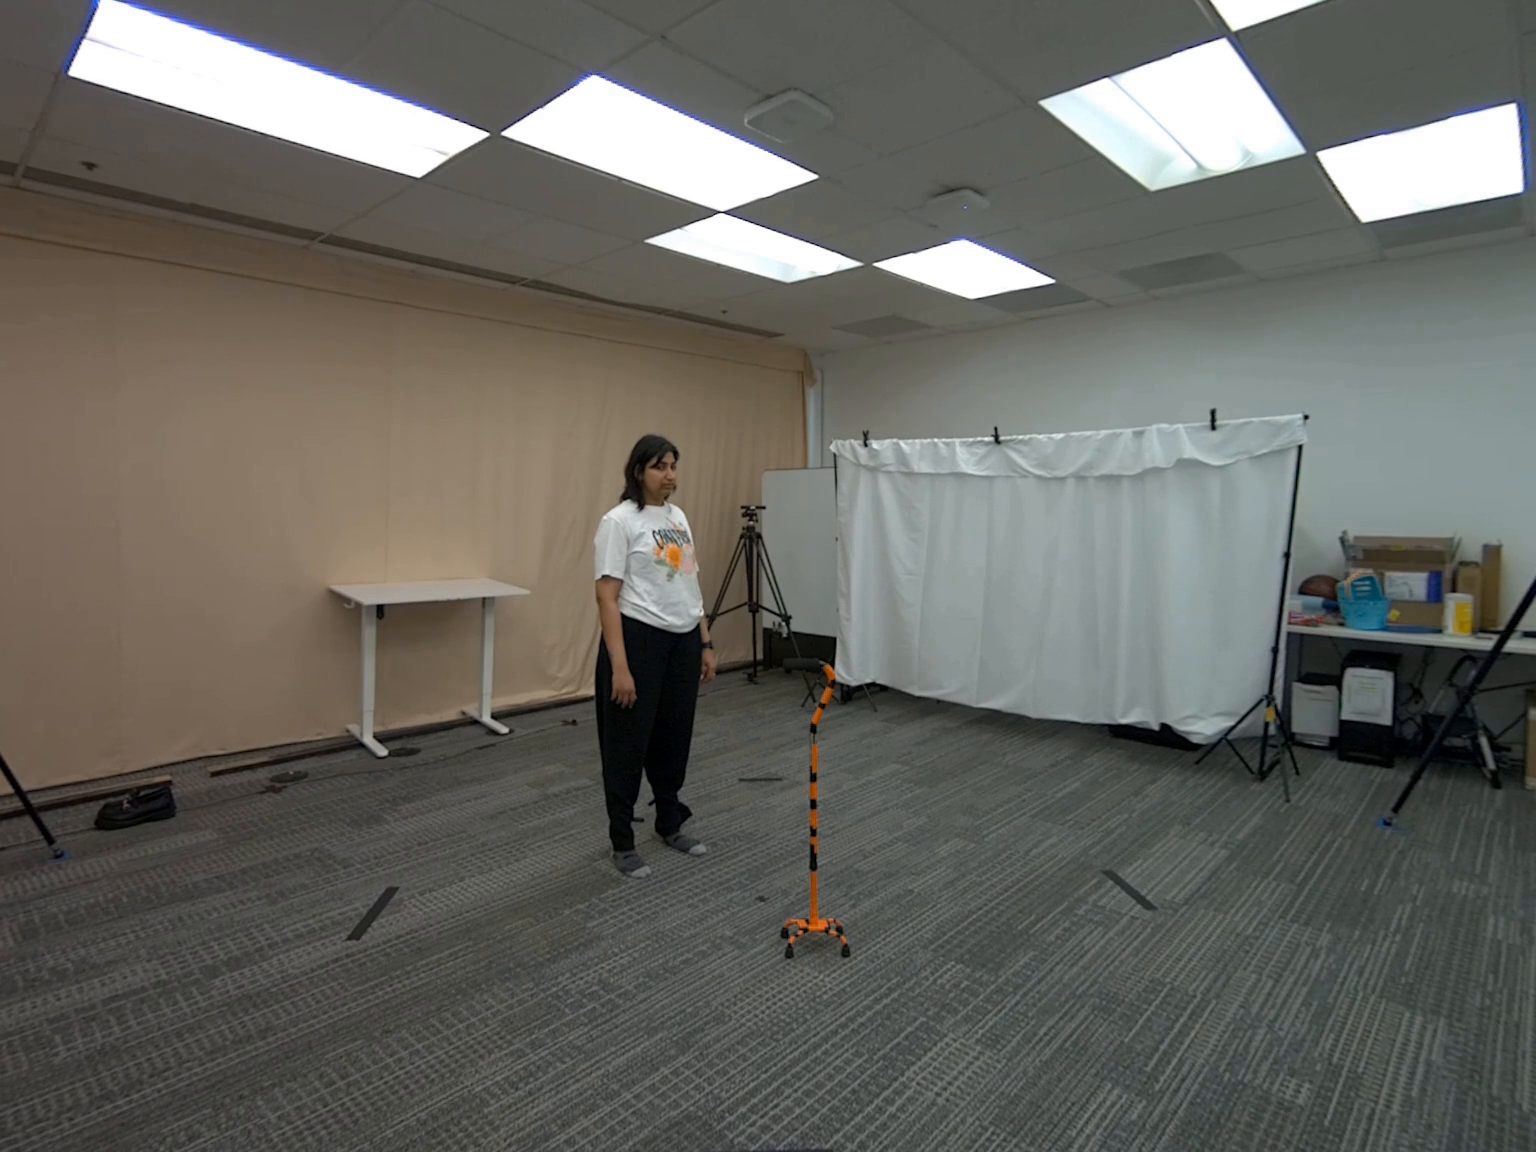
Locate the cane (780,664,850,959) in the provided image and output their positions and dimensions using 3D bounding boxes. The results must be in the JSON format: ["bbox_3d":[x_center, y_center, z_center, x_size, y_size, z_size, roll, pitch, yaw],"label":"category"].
[{"bbox_3d":[0.151,0.719,2.647,0.206,0.907,0.152,-1,2,-3],"label":"cane"}]
